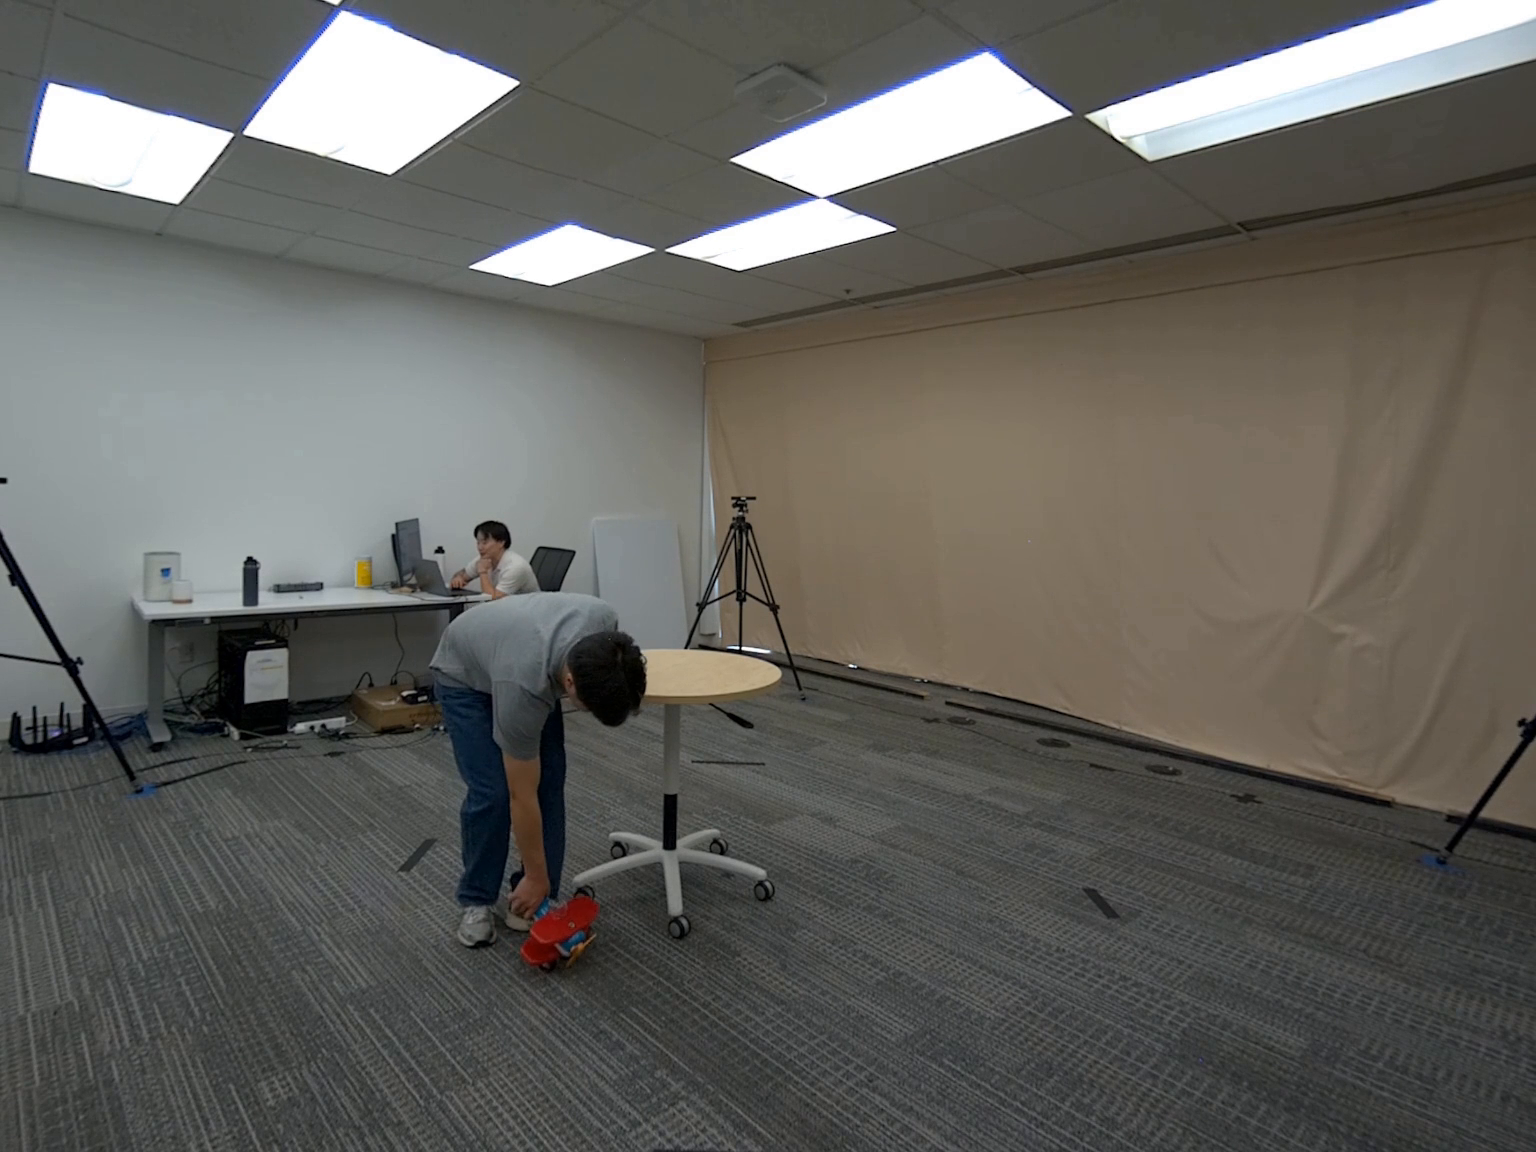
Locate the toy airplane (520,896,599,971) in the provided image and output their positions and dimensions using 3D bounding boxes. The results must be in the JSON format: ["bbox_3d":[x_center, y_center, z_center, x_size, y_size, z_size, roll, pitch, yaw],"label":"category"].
[{"bbox_3d":[-0.652,1.038,2.476,0.256,0.156,0.254,38,23,-10],"label":"toy airplane"}]
